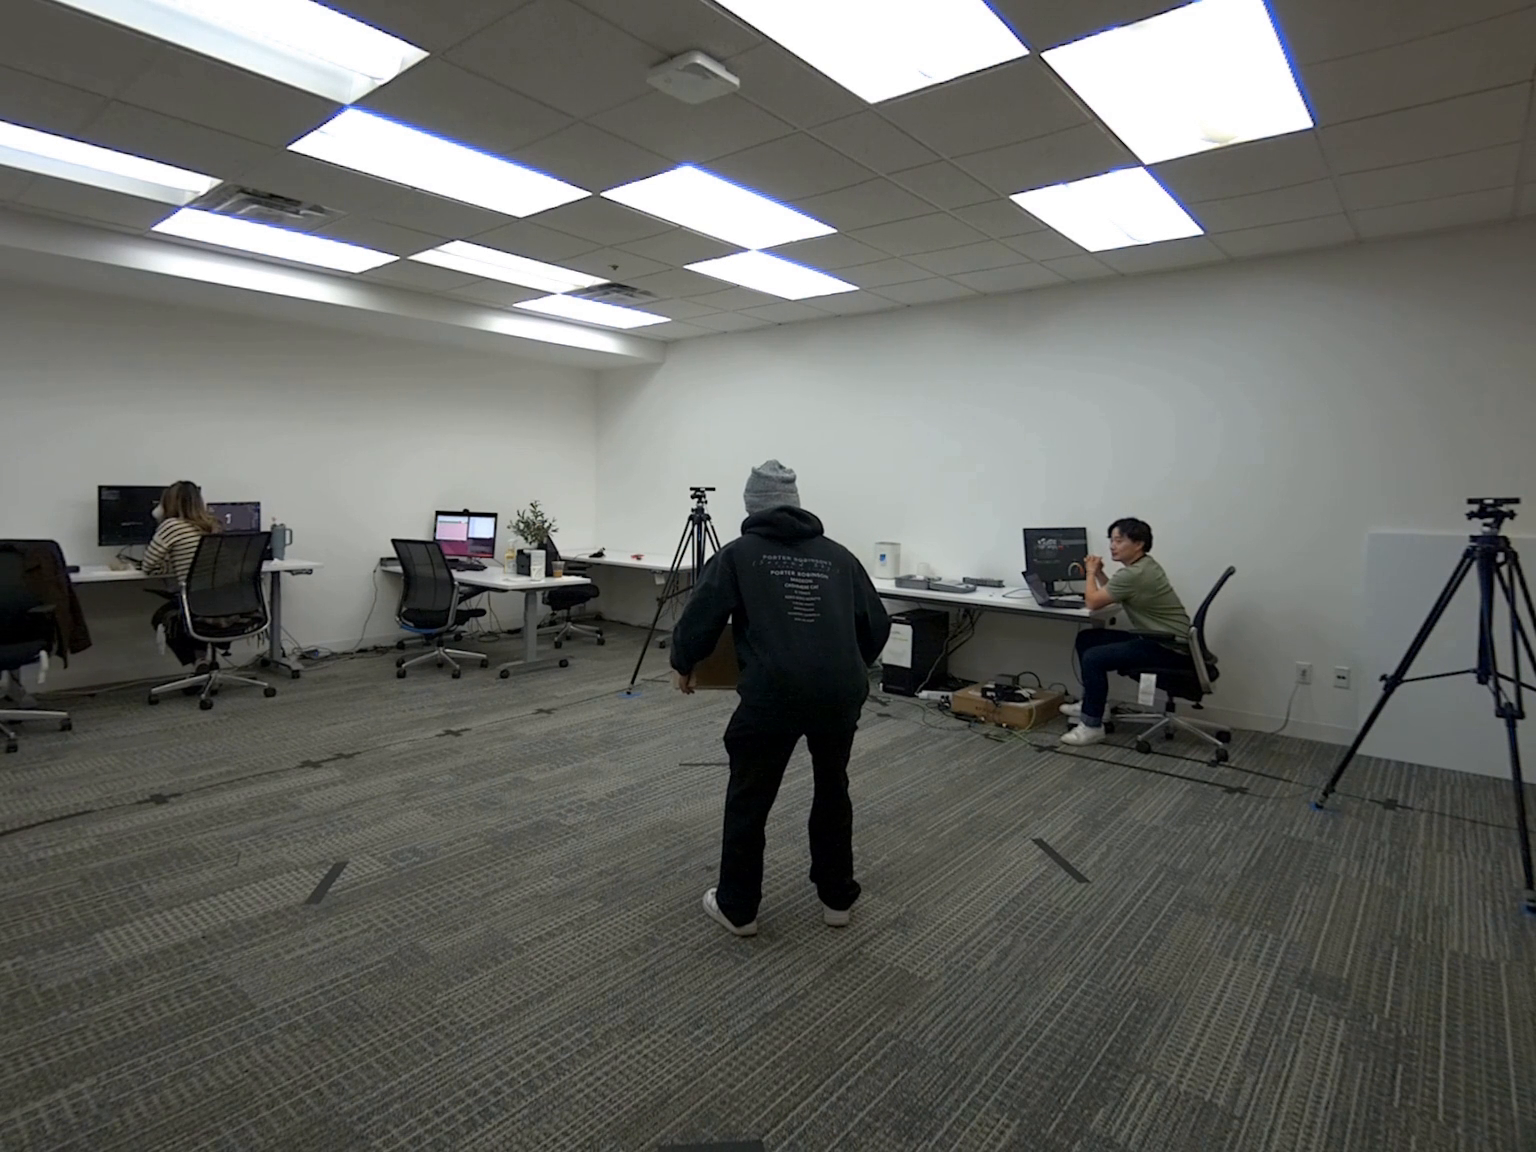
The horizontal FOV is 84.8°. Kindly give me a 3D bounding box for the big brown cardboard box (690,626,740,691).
[{"bbox_3d":[-0.037,0.300,3.114,0.581,0.236,0.418,2,-11,-13],"label":"big brown cardboard box"}]
